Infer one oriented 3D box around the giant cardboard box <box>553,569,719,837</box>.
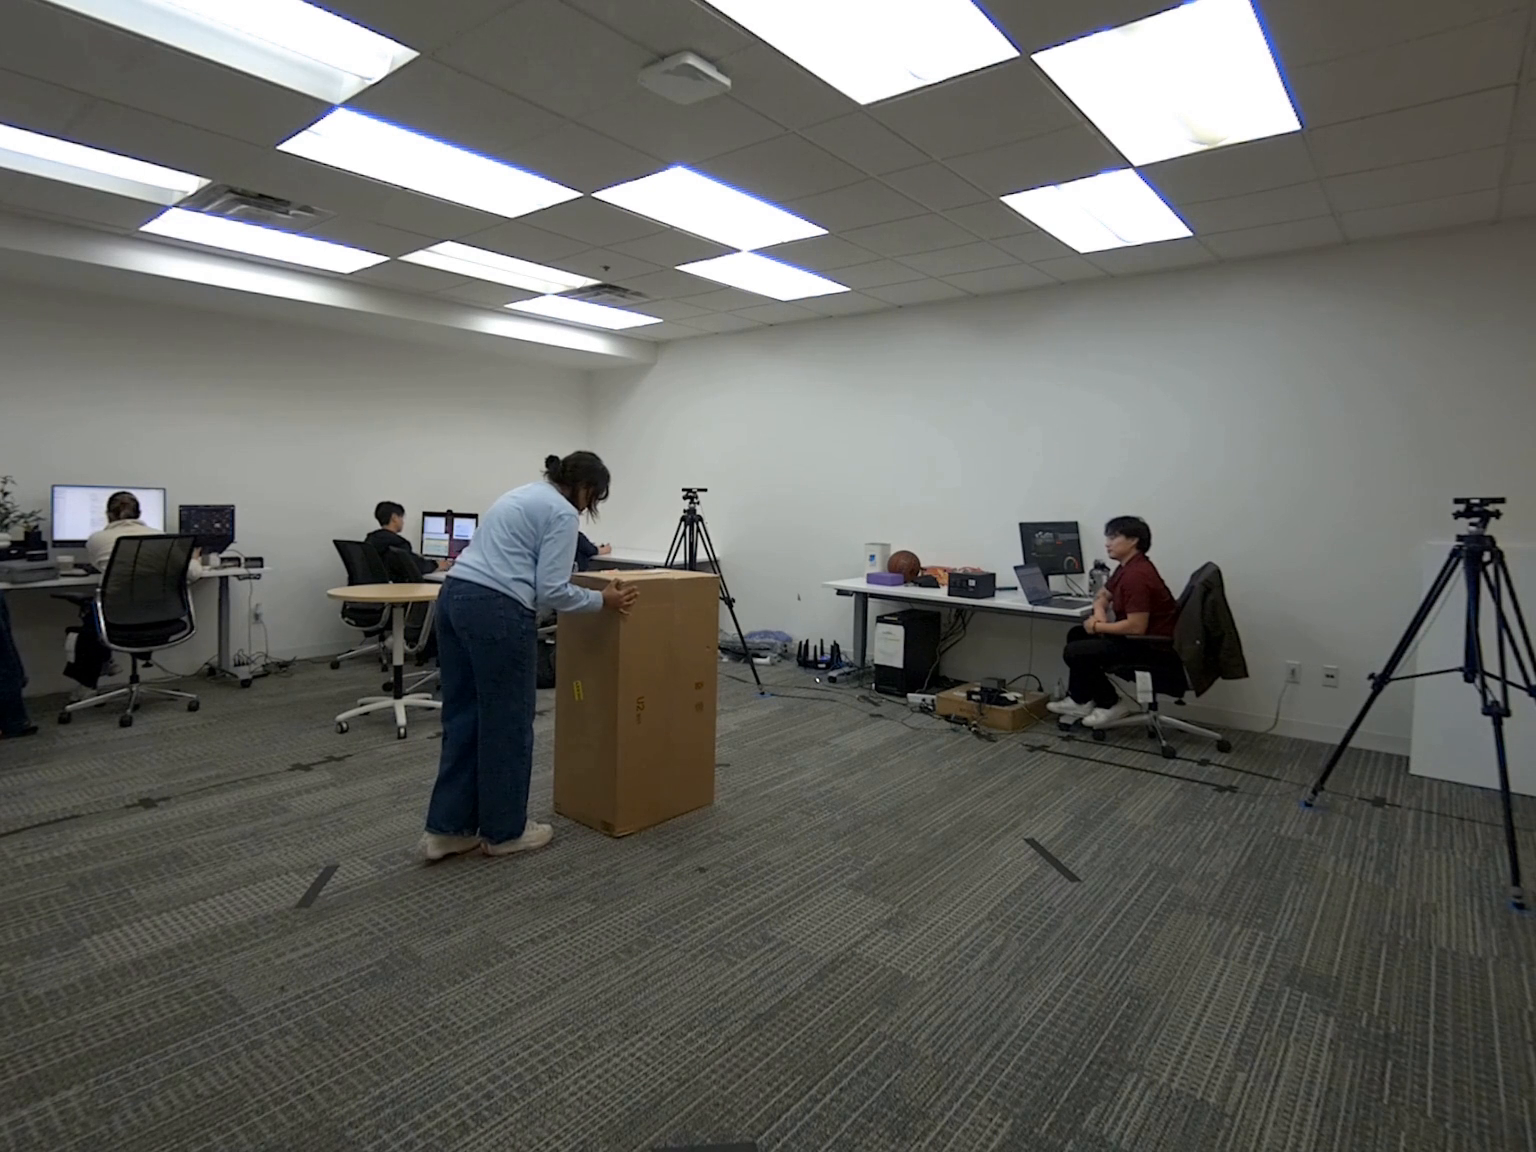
[{"bbox_3d":[-0.577,0.502,3.703,0.440,1.023,0.560,4,3,41],"label":"giant cardboard box"}]
